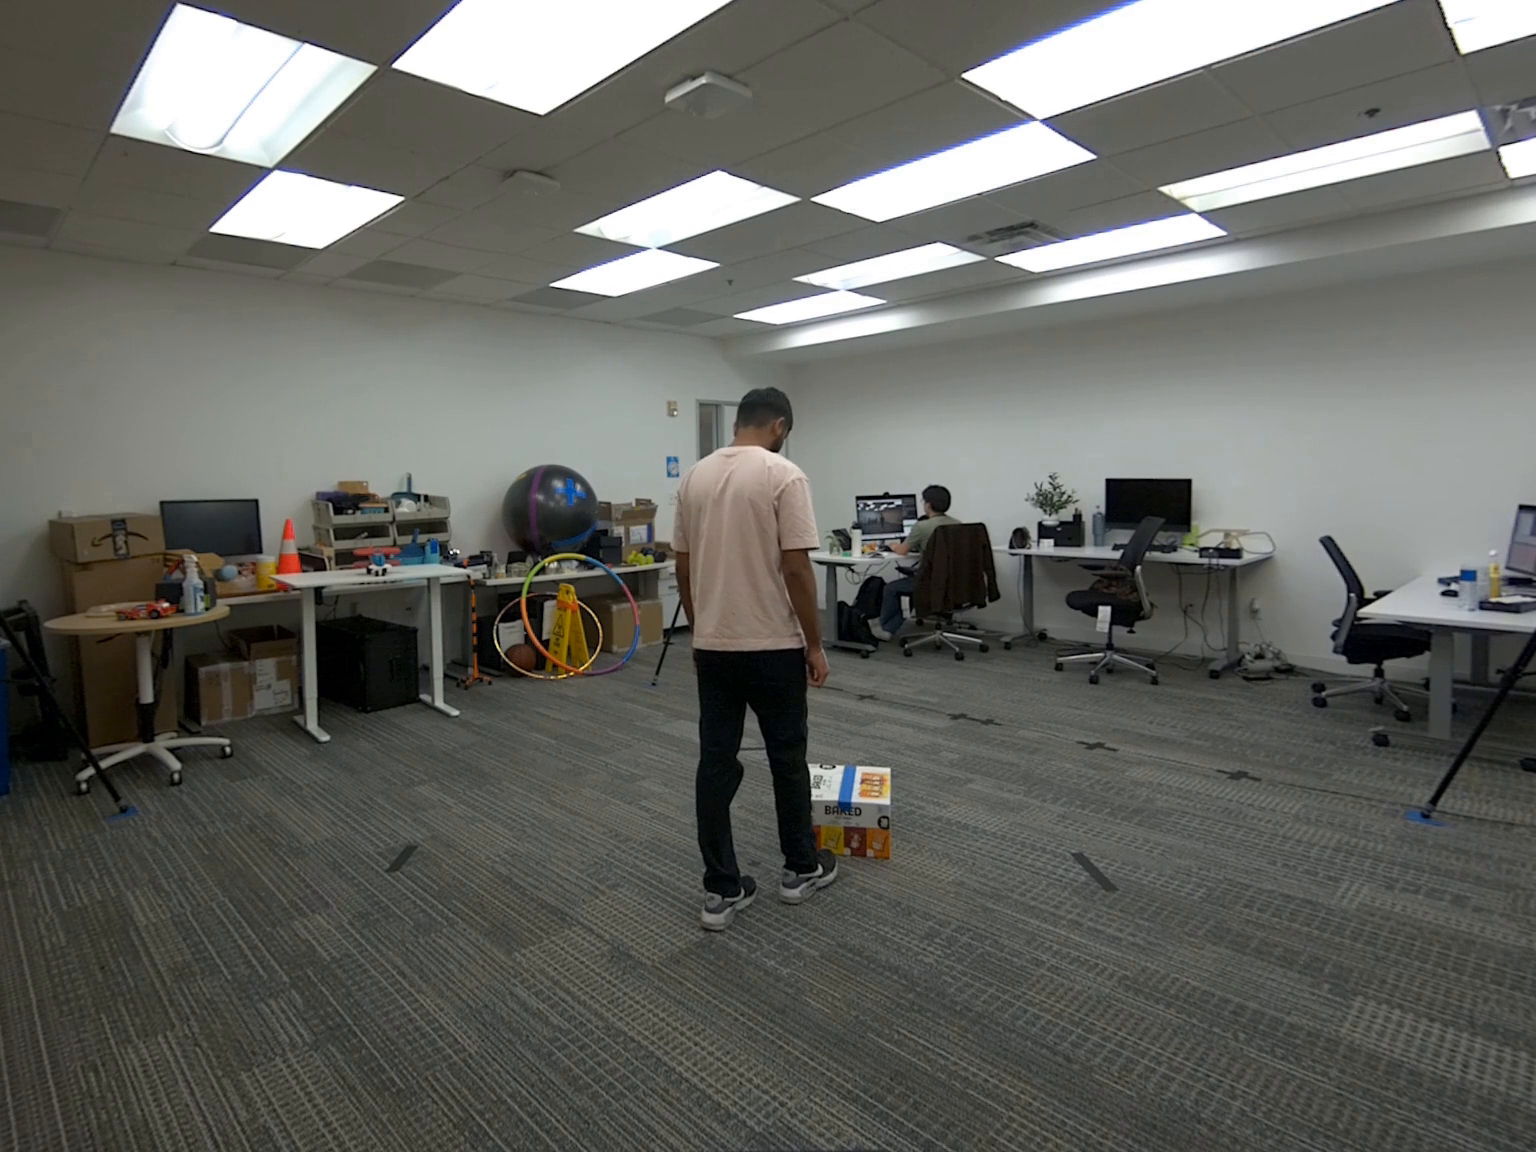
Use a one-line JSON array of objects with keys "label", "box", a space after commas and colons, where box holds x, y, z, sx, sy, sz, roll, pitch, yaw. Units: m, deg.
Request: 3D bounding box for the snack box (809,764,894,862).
[{"label": "snack box", "box": [0.316, 0.912, 3.350, 0.344, 0.205, 0.403, 0, 6, 10]}]
